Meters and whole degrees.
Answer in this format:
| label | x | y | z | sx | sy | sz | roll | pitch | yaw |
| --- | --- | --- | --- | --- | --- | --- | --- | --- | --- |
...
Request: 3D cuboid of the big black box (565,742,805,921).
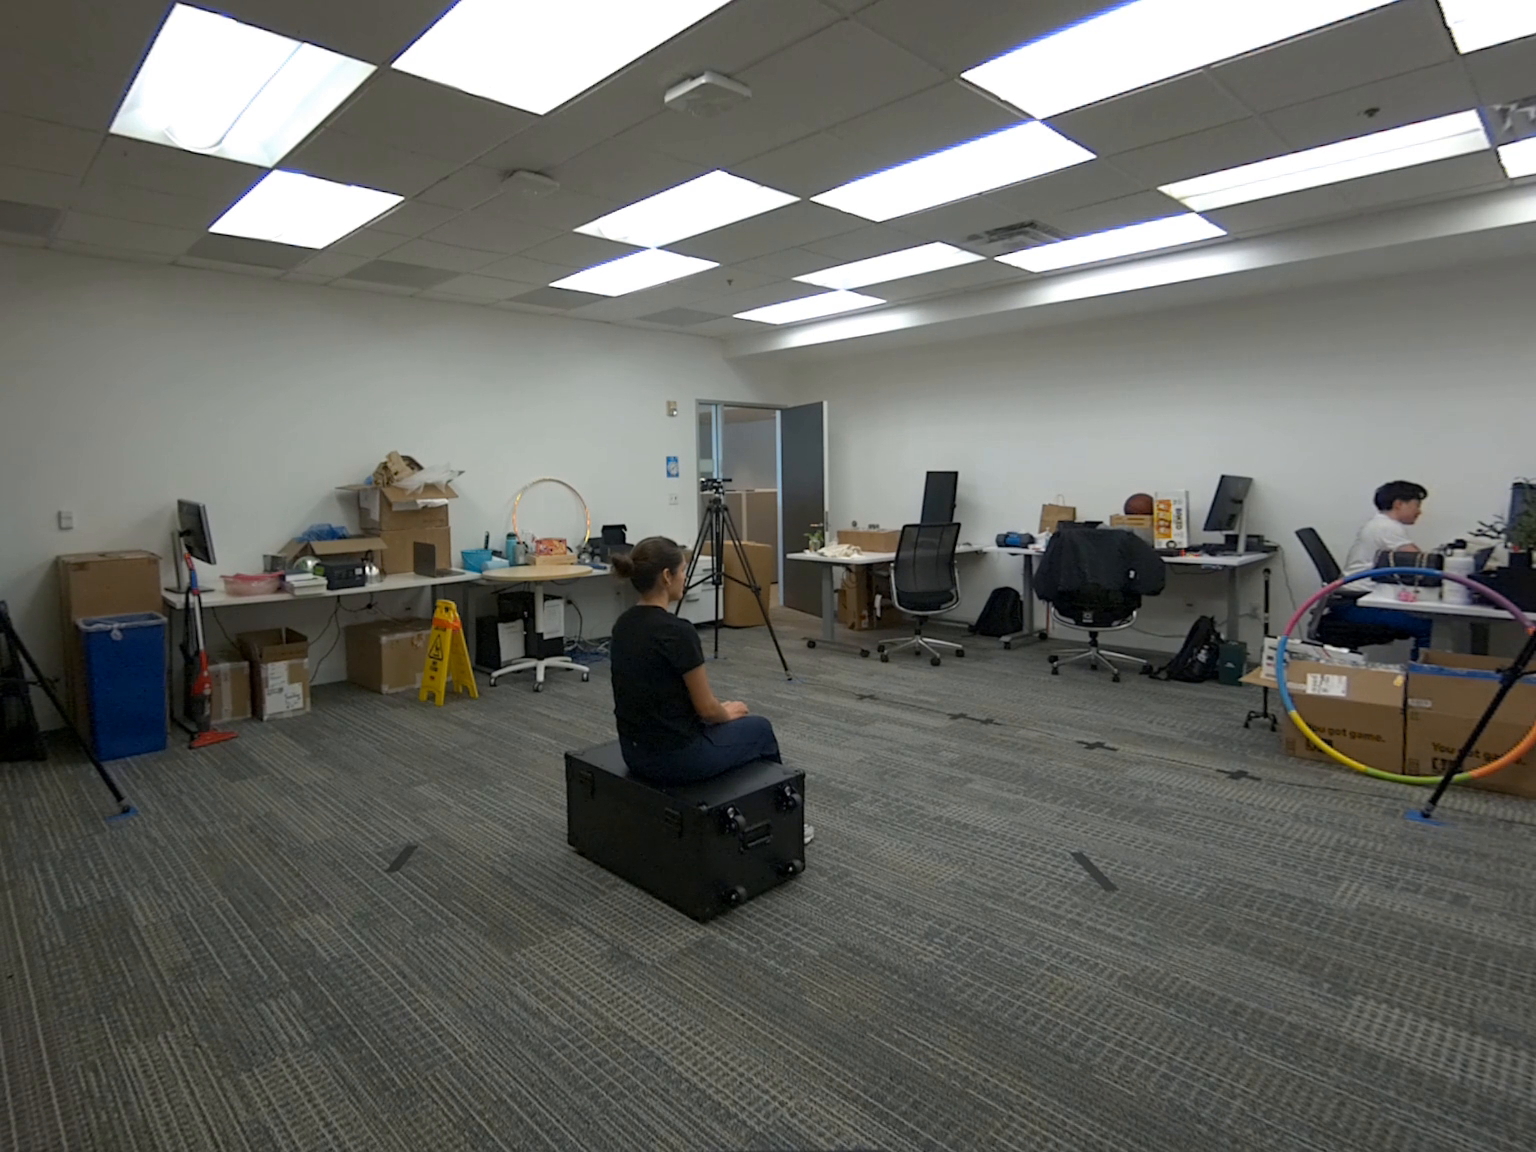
| label | x | y | z | sx | sy | sz | roll | pitch | yaw |
| --- | --- | --- | --- | --- | --- | --- | --- | --- | --- |
| big black box | -0.296 | 0.863 | 3.093 | 0.508 | 0.394 | 0.888 | -7 | 8 | -44 |
